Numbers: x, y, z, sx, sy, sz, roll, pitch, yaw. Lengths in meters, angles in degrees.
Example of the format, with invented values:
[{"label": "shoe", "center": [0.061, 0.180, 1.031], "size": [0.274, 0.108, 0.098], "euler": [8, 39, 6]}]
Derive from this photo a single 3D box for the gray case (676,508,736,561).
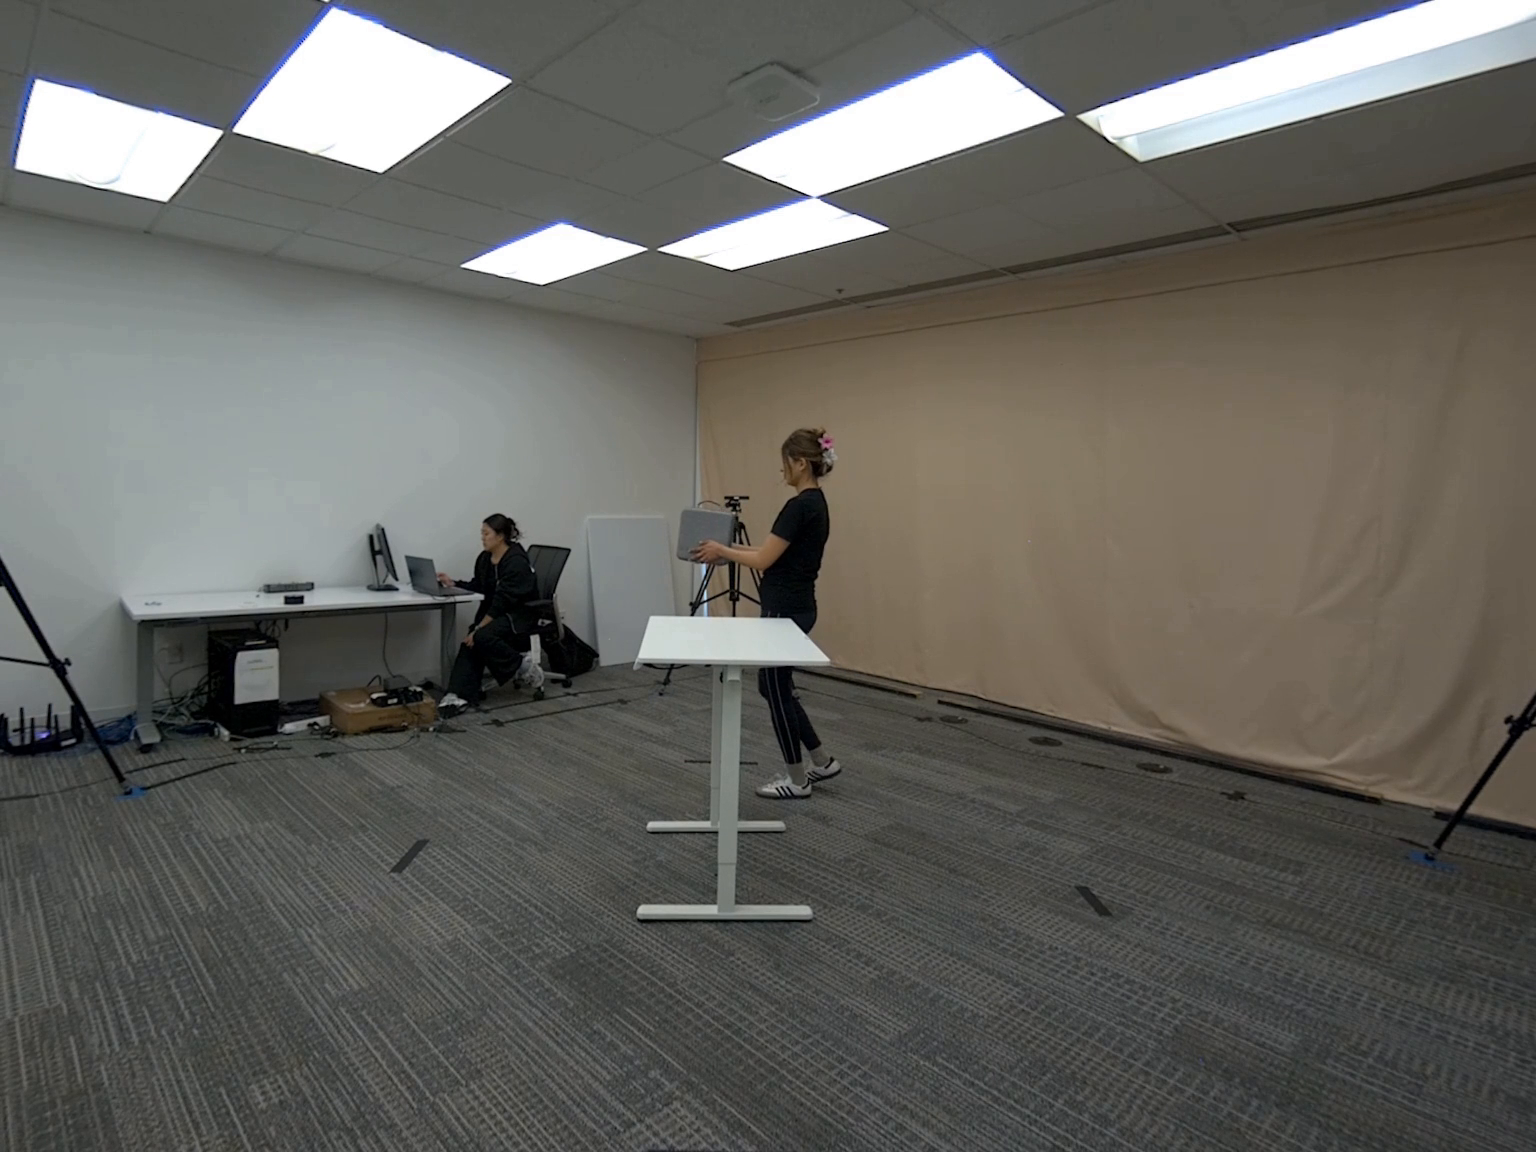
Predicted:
[{"label": "gray case", "center": [-0.294, -0.193, 3.985], "size": [0.260, 0.260, 0.103], "euler": [8, 2, 12]}]
